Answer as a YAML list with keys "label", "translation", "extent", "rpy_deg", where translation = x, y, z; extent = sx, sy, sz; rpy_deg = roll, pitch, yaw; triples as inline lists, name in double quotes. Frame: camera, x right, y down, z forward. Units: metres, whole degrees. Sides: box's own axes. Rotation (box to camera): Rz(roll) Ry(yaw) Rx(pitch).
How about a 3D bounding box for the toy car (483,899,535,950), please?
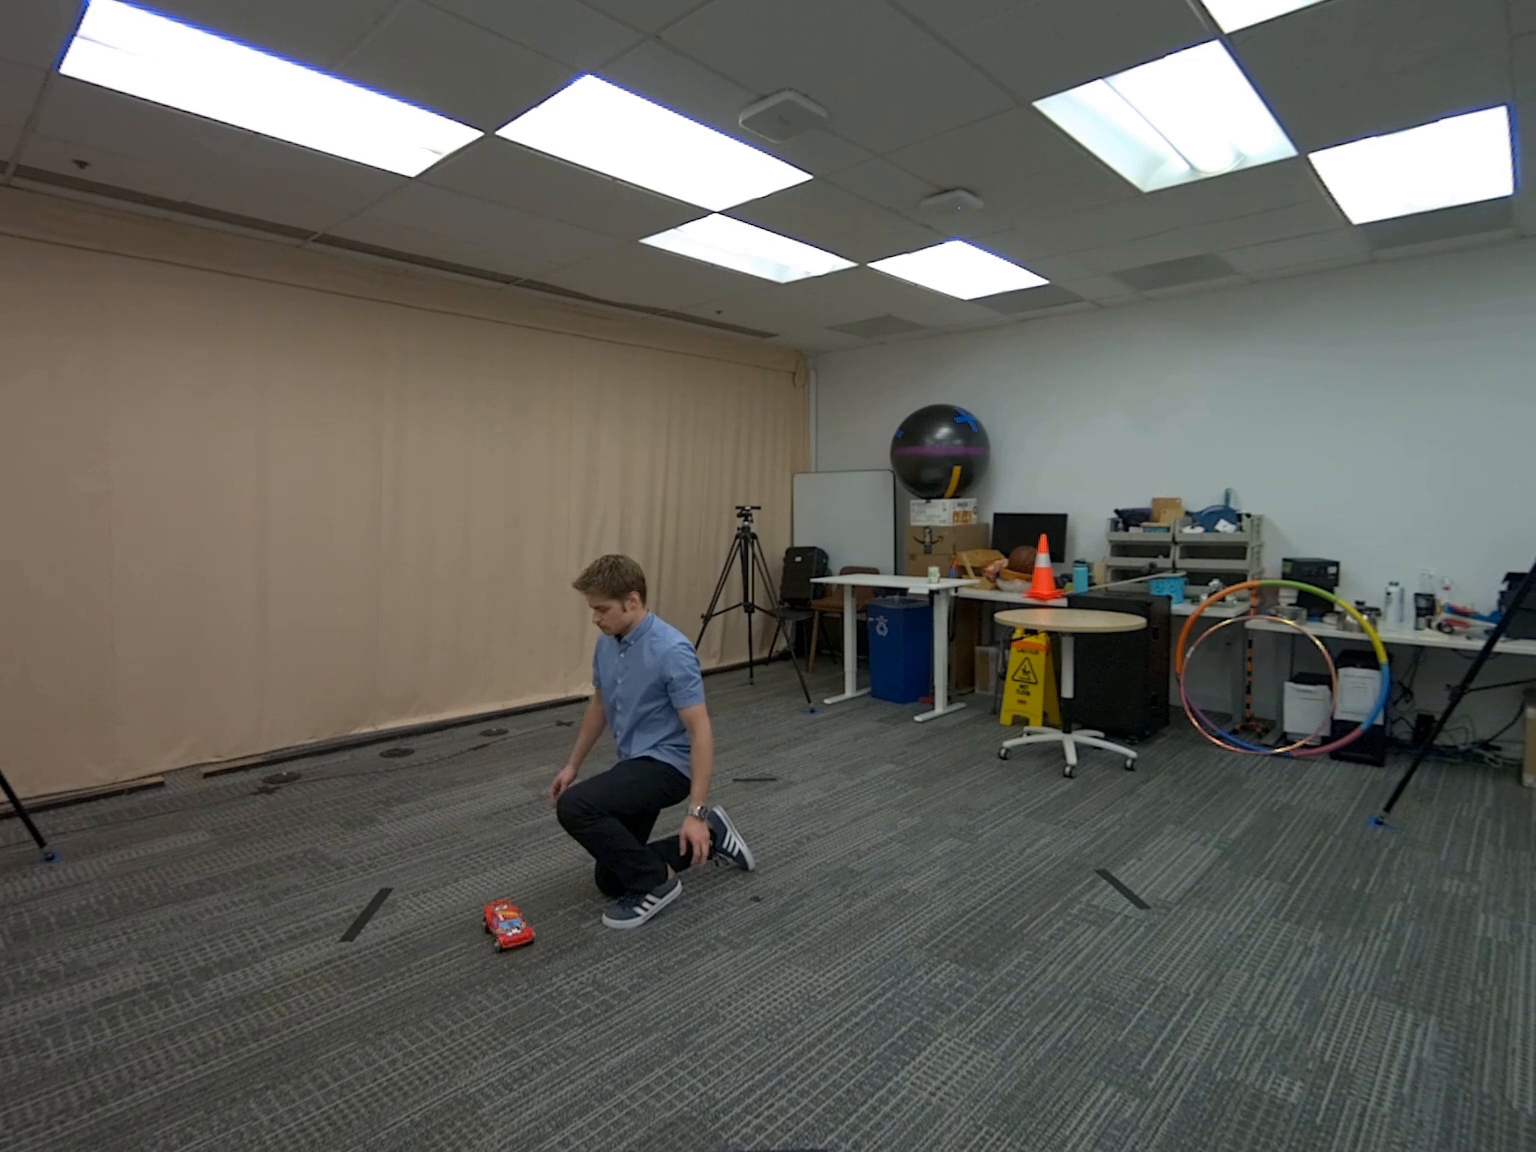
- label: "toy car"
  translation: [-0.856, 1.143, 2.742]
  extent: [0.127, 0.082, 0.263]
  rpy_deg: [-6, 17, -31]
